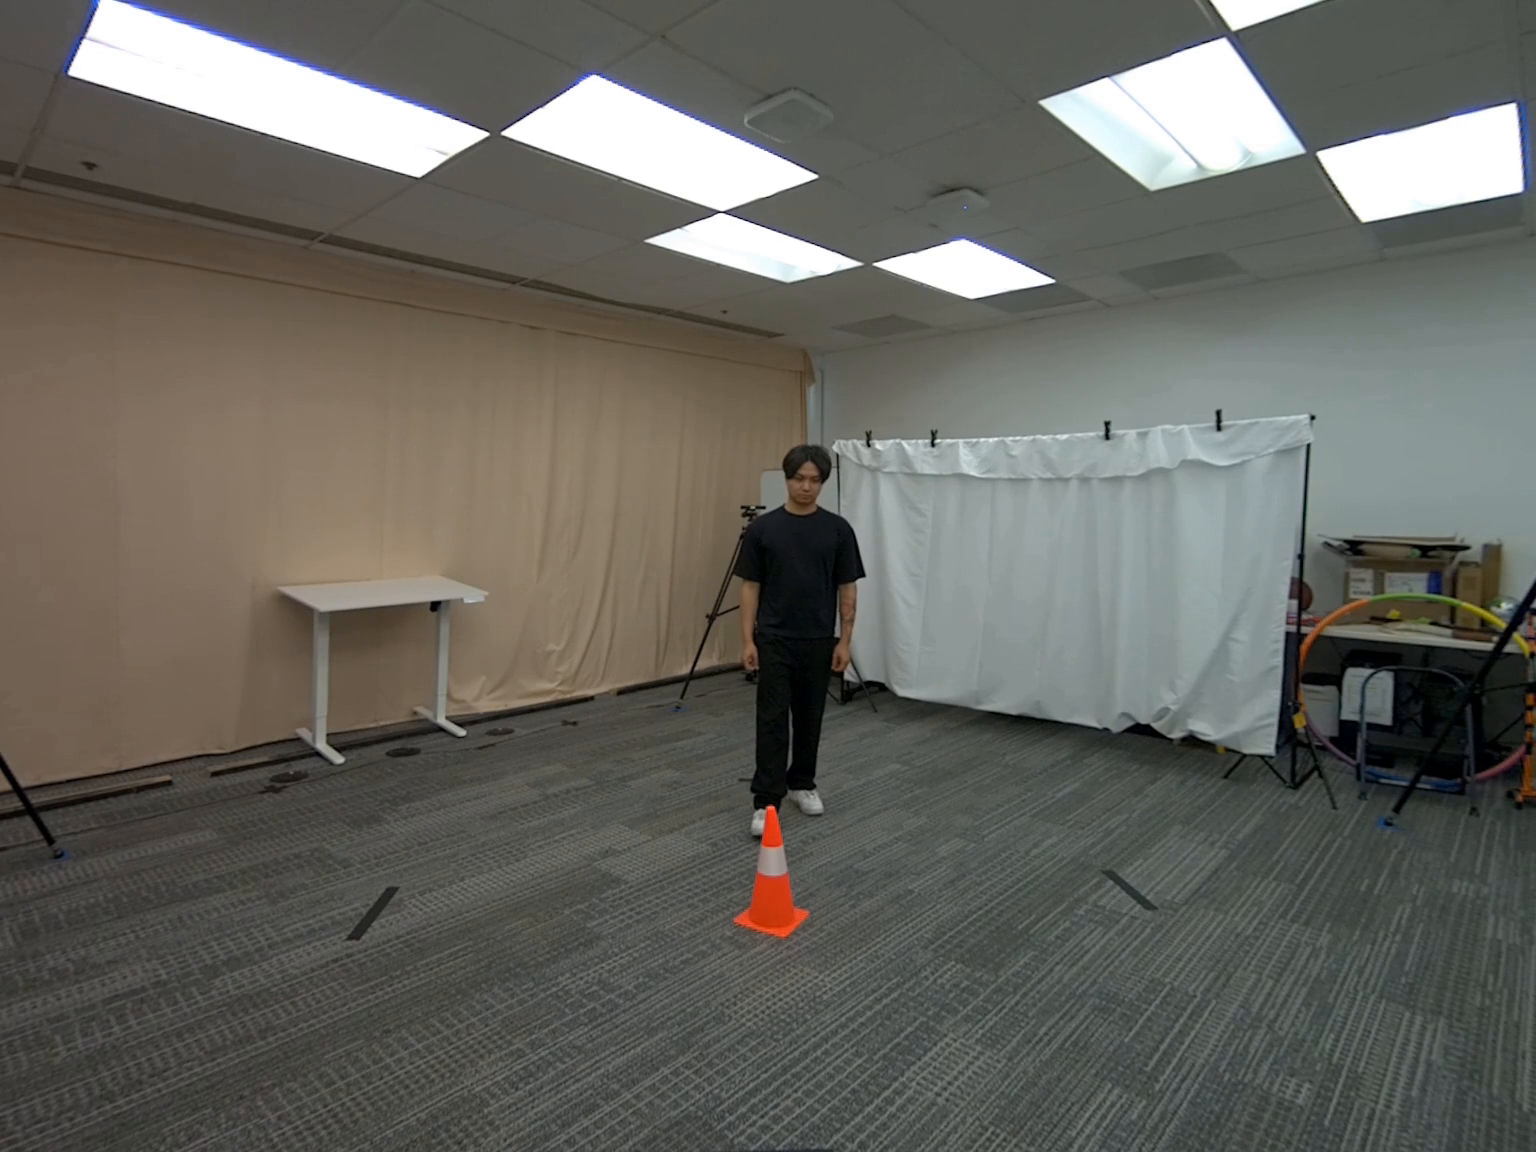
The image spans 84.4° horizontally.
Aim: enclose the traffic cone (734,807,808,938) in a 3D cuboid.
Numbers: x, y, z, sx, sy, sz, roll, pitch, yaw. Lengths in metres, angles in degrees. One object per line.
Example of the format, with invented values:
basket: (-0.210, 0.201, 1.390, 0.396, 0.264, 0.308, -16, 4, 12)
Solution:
traffic cone: (0.012, 0.969, 2.846, 0.210, 0.383, 0.198, 0, 2, 28)
